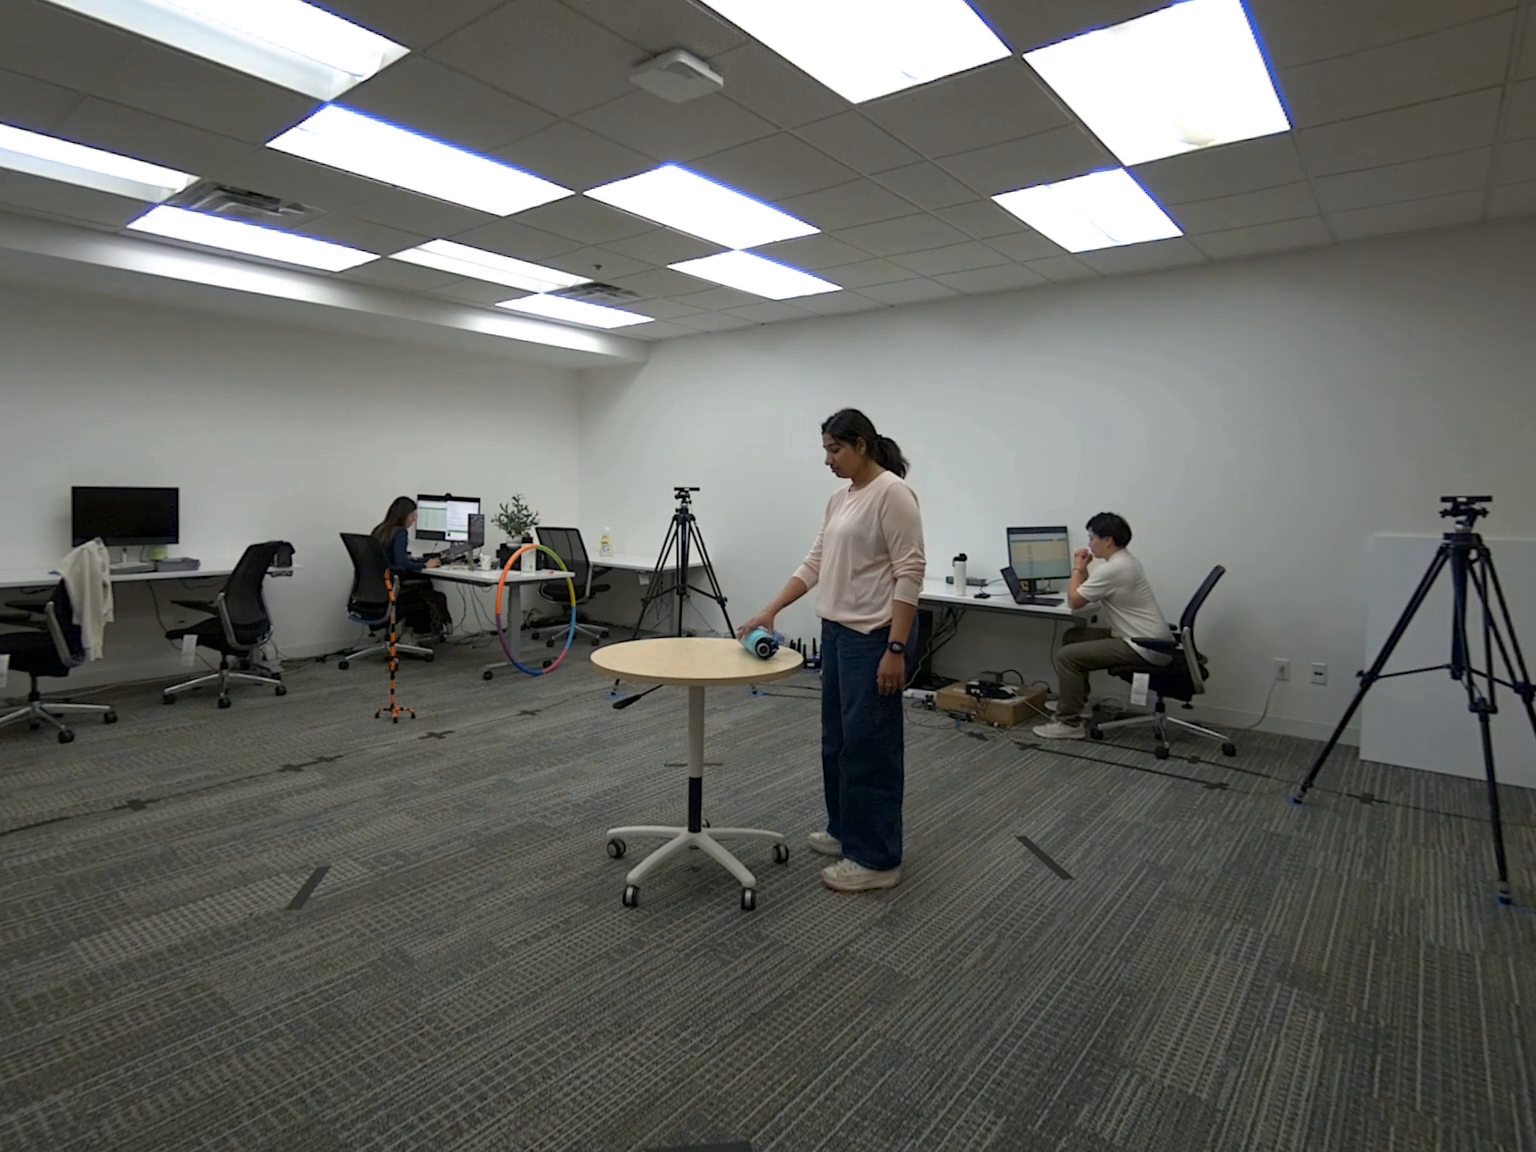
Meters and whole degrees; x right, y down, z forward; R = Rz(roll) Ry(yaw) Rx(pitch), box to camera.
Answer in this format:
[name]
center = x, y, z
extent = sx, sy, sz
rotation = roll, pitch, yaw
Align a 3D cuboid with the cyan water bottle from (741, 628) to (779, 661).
[cyan water bottle]
center = -0.053, 0.235, 3.124
extent = 0.091, 0.092, 0.288
rotation = 0, 5, -15
